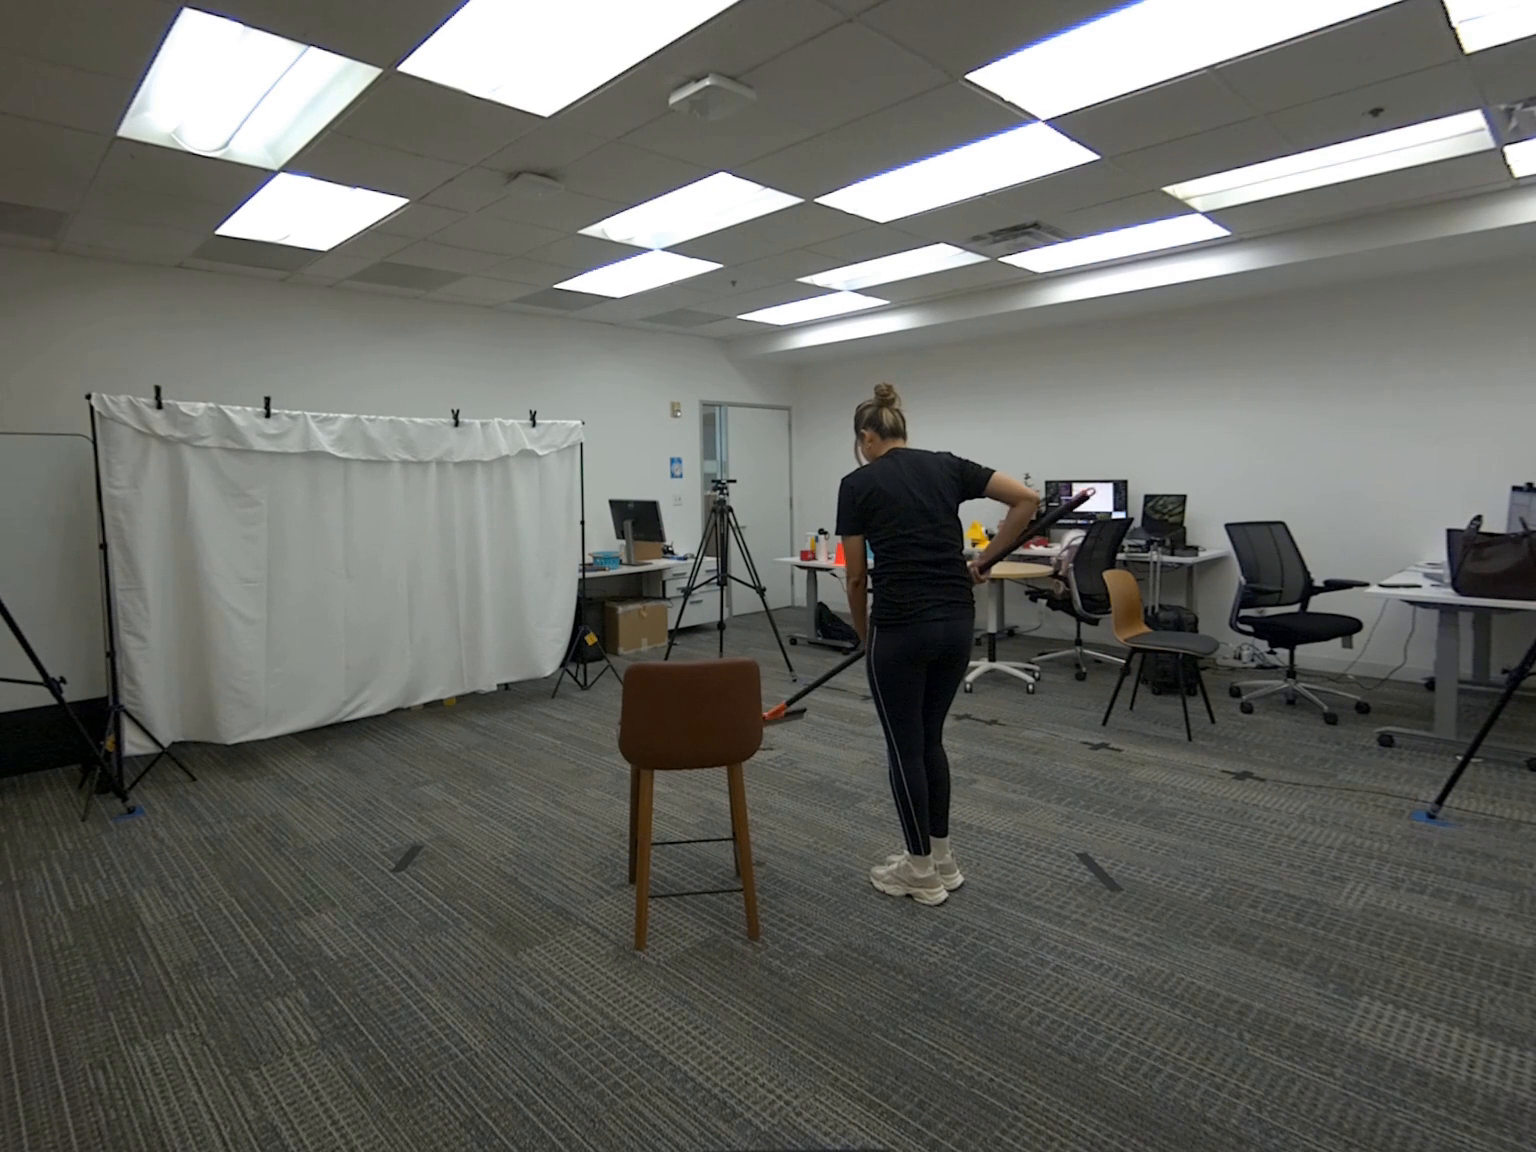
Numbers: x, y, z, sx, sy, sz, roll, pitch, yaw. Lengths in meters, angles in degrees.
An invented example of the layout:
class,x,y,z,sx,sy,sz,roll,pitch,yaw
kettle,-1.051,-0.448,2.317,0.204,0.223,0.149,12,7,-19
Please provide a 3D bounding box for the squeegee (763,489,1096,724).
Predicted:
class,x,y,z,sx,sy,sz,roll,pitch,yaw
squeegee,0.509,0.175,3.037,1.545,0.054,0.424,-38,-24,32
